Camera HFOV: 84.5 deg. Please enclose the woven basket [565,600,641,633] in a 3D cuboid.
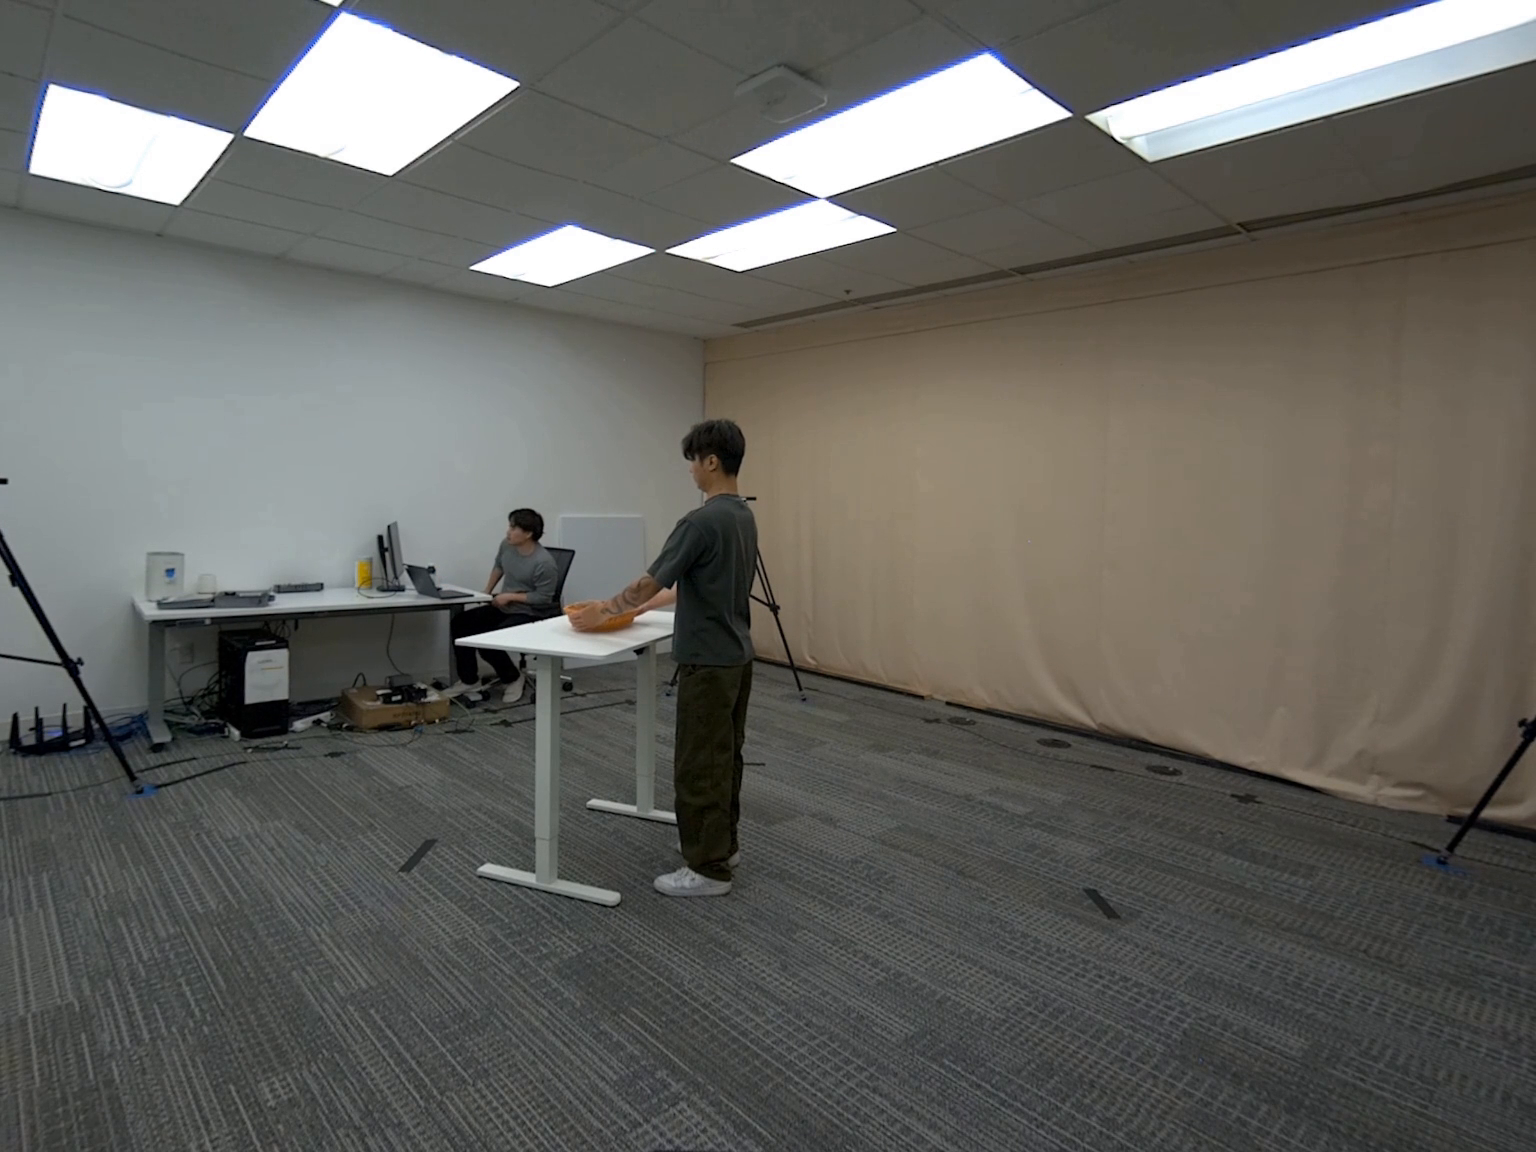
[{"bbox_3d":[-0.634,0.157,3.269,0.257,0.073,0.344,4,6,26],"label":"woven basket"}]
